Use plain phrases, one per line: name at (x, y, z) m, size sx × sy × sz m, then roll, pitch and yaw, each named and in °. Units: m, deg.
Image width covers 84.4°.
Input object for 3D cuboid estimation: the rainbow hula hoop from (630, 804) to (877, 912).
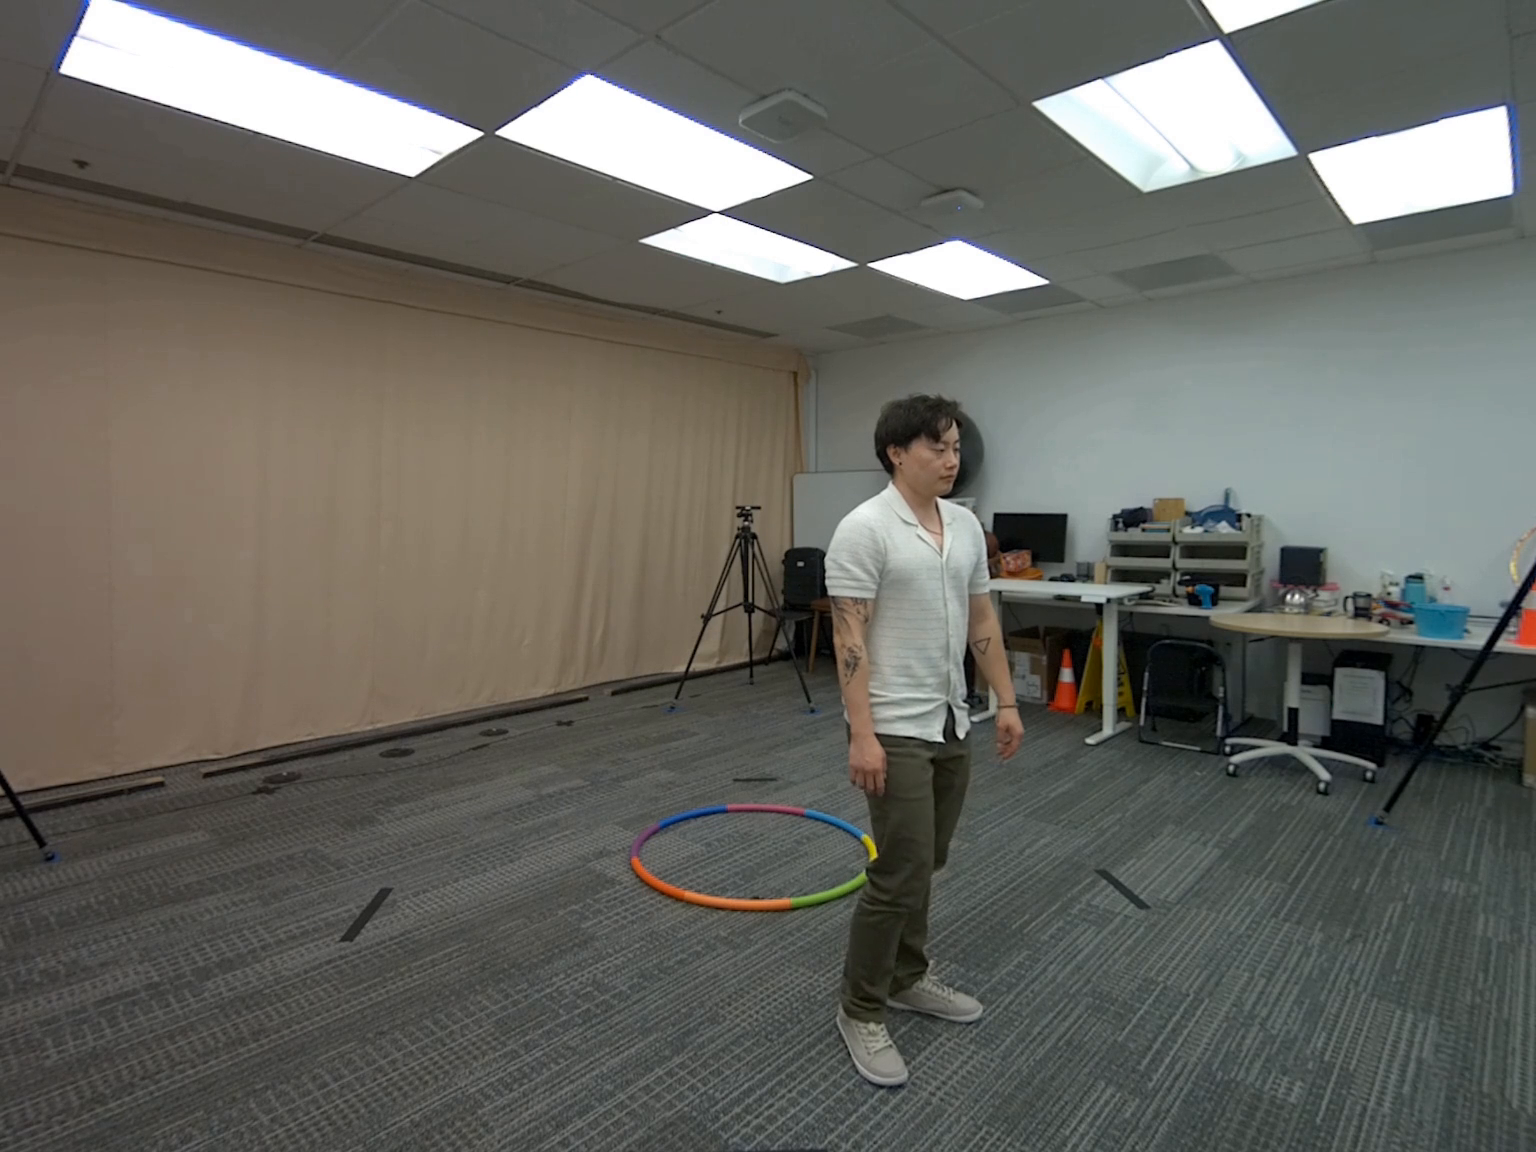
rainbow hula hoop at (-0.056, 1.083, 3.370) m, size 0.978 × 0.035 × 0.982 m, roll -1°, pitch 5°, yaw -2°
